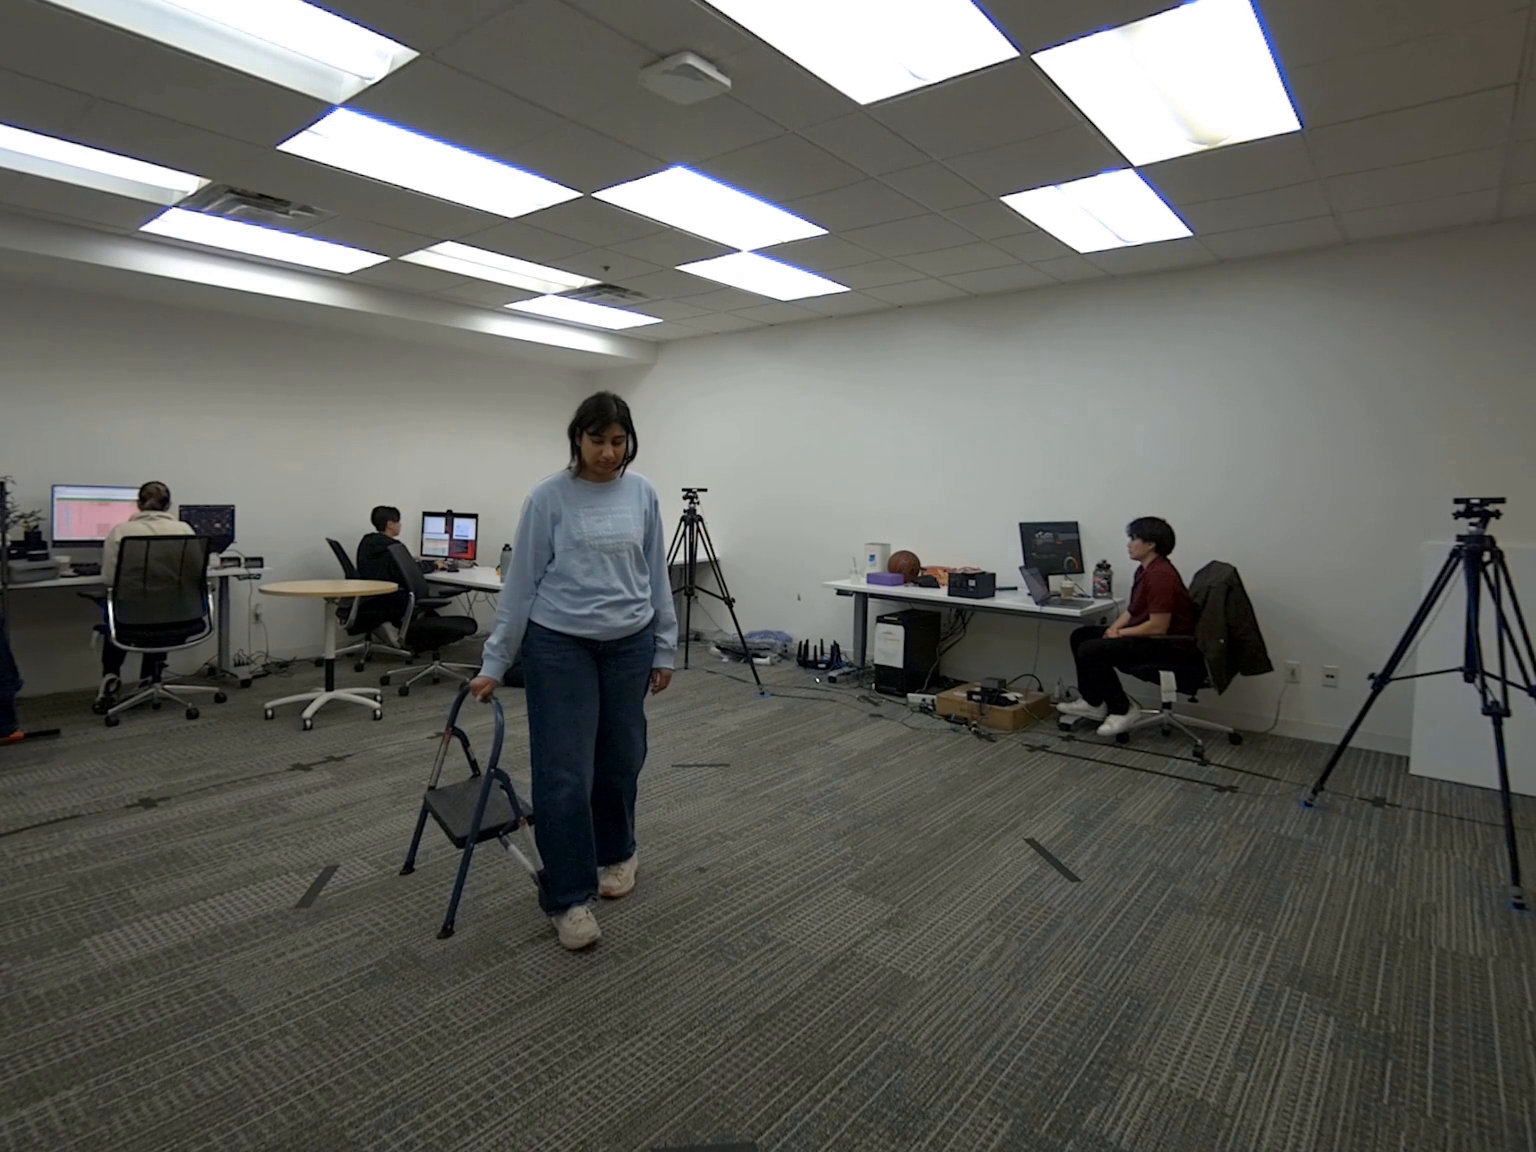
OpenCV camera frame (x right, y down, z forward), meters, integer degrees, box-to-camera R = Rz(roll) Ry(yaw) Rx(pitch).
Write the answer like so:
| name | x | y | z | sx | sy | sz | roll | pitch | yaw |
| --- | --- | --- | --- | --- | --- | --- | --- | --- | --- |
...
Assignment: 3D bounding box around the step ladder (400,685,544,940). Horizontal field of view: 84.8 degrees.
| name | x | y | z | sx | sy | sz | roll | pitch | yaw |
| --- | --- | --- | --- | --- | --- | --- | --- | --- | --- |
| step ladder | -0.919 | 0.661 | 2.571 | 0.340 | 0.600 | 0.446 | -9 | 14 | -37 |
